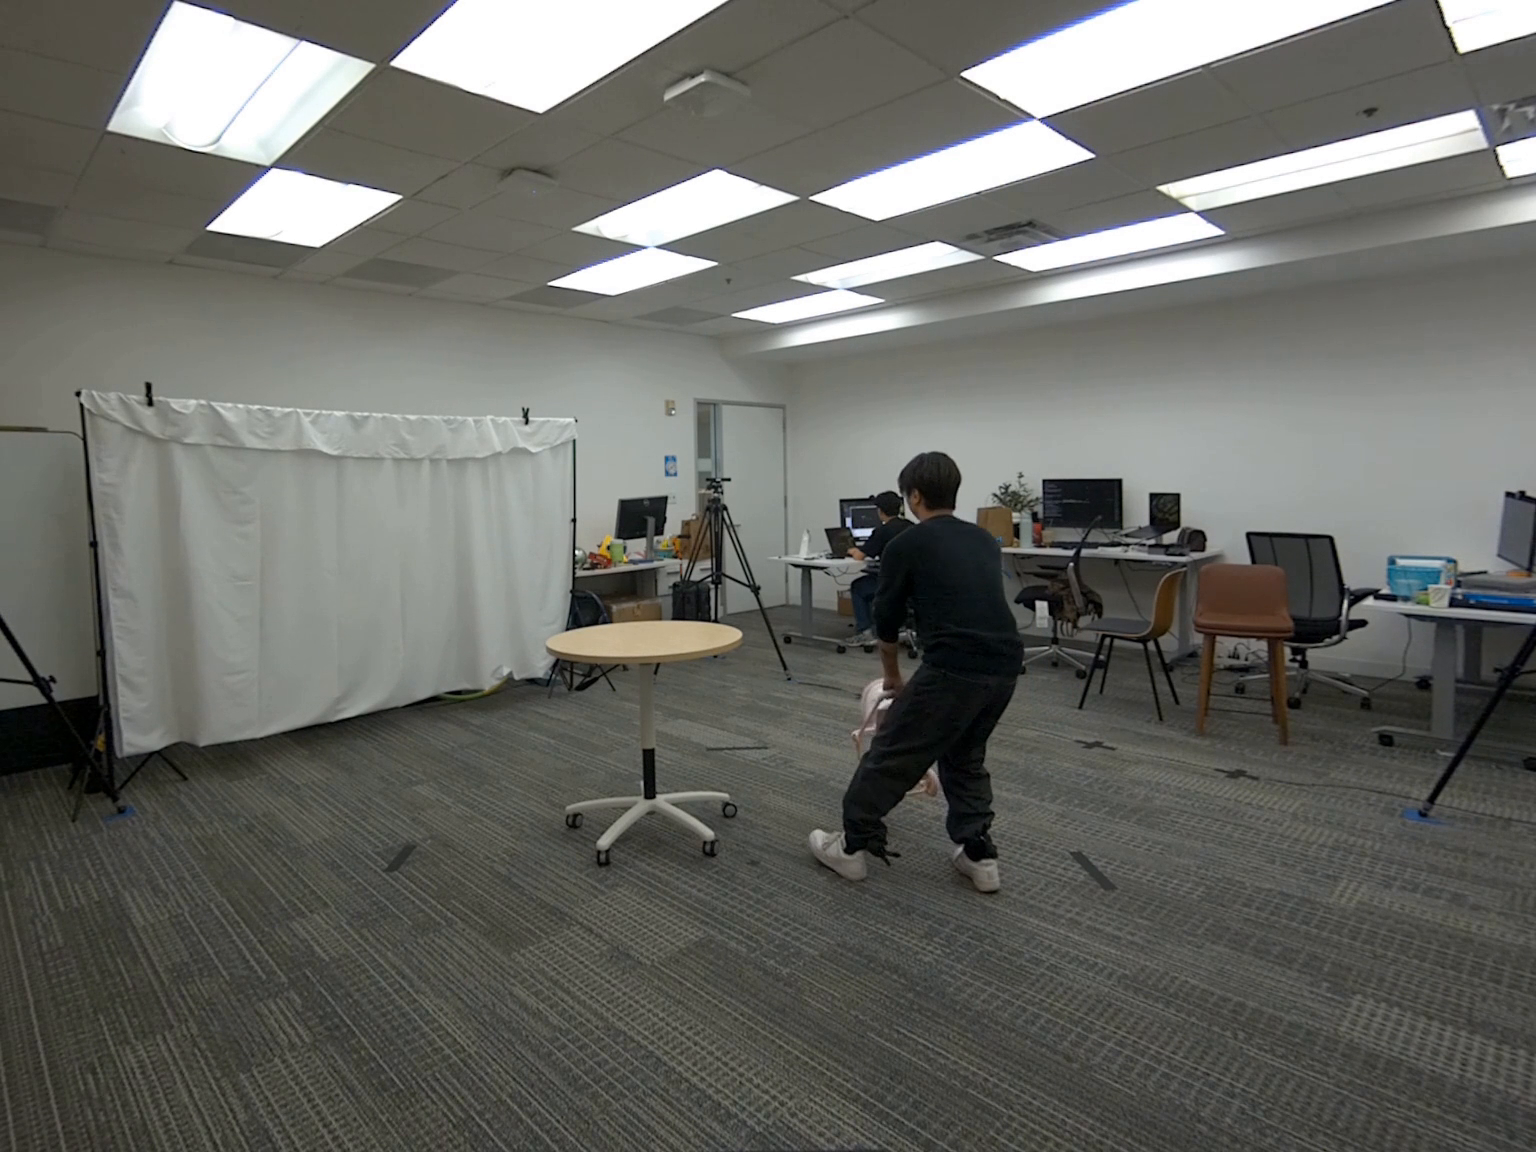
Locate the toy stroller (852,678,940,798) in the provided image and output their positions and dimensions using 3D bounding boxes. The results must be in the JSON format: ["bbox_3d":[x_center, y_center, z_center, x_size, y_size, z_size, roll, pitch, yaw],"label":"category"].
[{"bbox_3d":[0.475,0.652,3.396,0.278,0.531,0.349,-4,9,-16],"label":"toy stroller"}]
